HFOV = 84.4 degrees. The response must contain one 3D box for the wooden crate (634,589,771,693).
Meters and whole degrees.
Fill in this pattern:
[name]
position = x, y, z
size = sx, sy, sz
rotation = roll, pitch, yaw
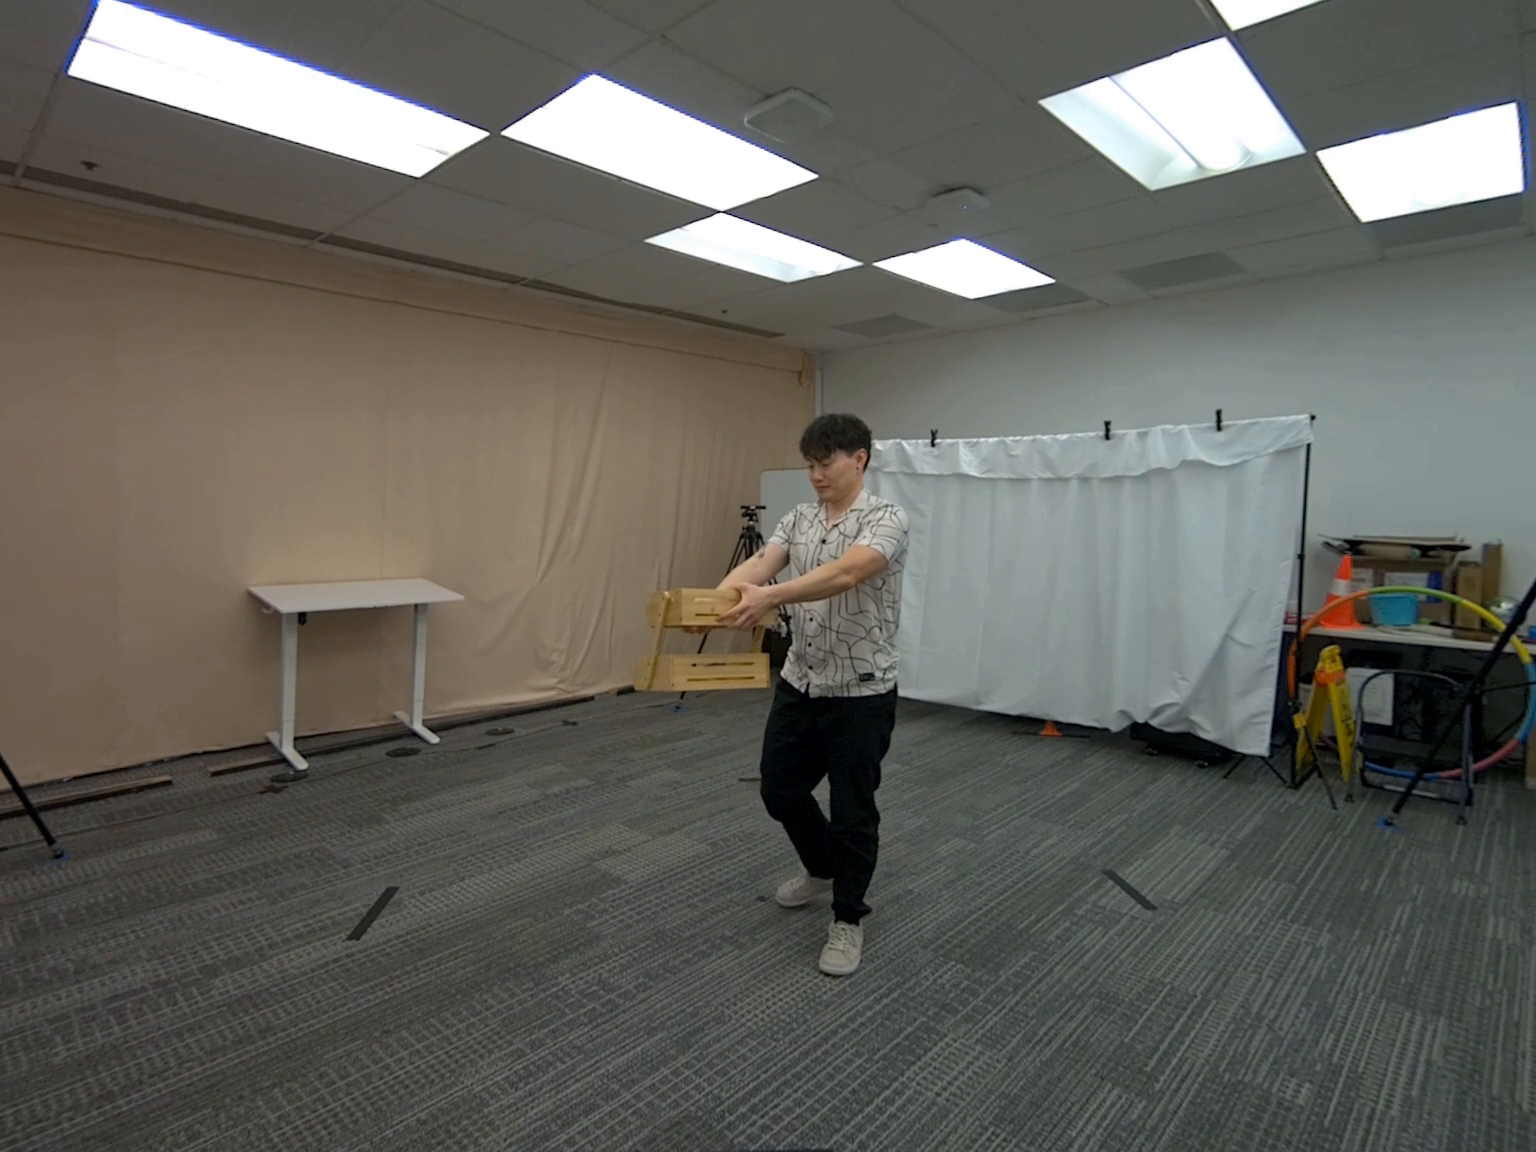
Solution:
[wooden crate]
position = -0.179, 0.174, 2.330
size = 0.315, 0.274, 0.309
rotation = 2, -7, -31
